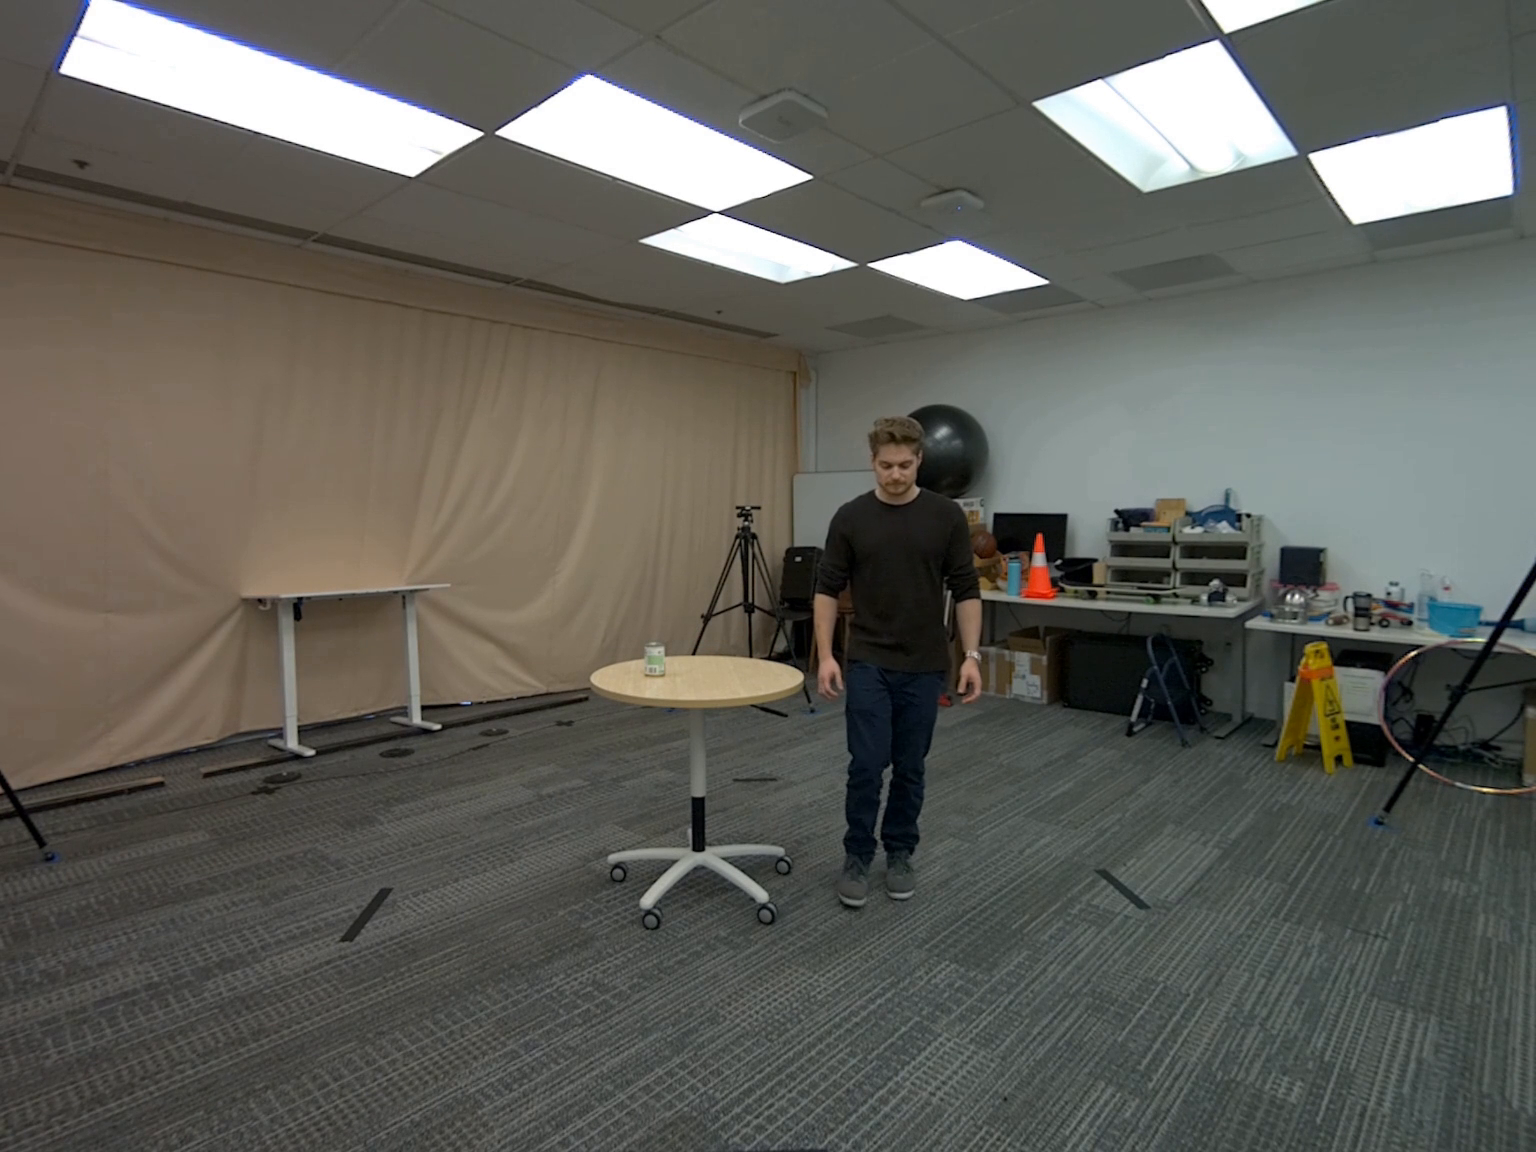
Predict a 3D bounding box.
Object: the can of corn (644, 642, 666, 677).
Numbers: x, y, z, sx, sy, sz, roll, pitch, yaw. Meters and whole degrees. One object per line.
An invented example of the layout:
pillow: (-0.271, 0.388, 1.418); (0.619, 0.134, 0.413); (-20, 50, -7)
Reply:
can of corn: (-0.406, 0.305, 3.032); (0.074, 0.111, 0.074); (-1, 0, -2)
